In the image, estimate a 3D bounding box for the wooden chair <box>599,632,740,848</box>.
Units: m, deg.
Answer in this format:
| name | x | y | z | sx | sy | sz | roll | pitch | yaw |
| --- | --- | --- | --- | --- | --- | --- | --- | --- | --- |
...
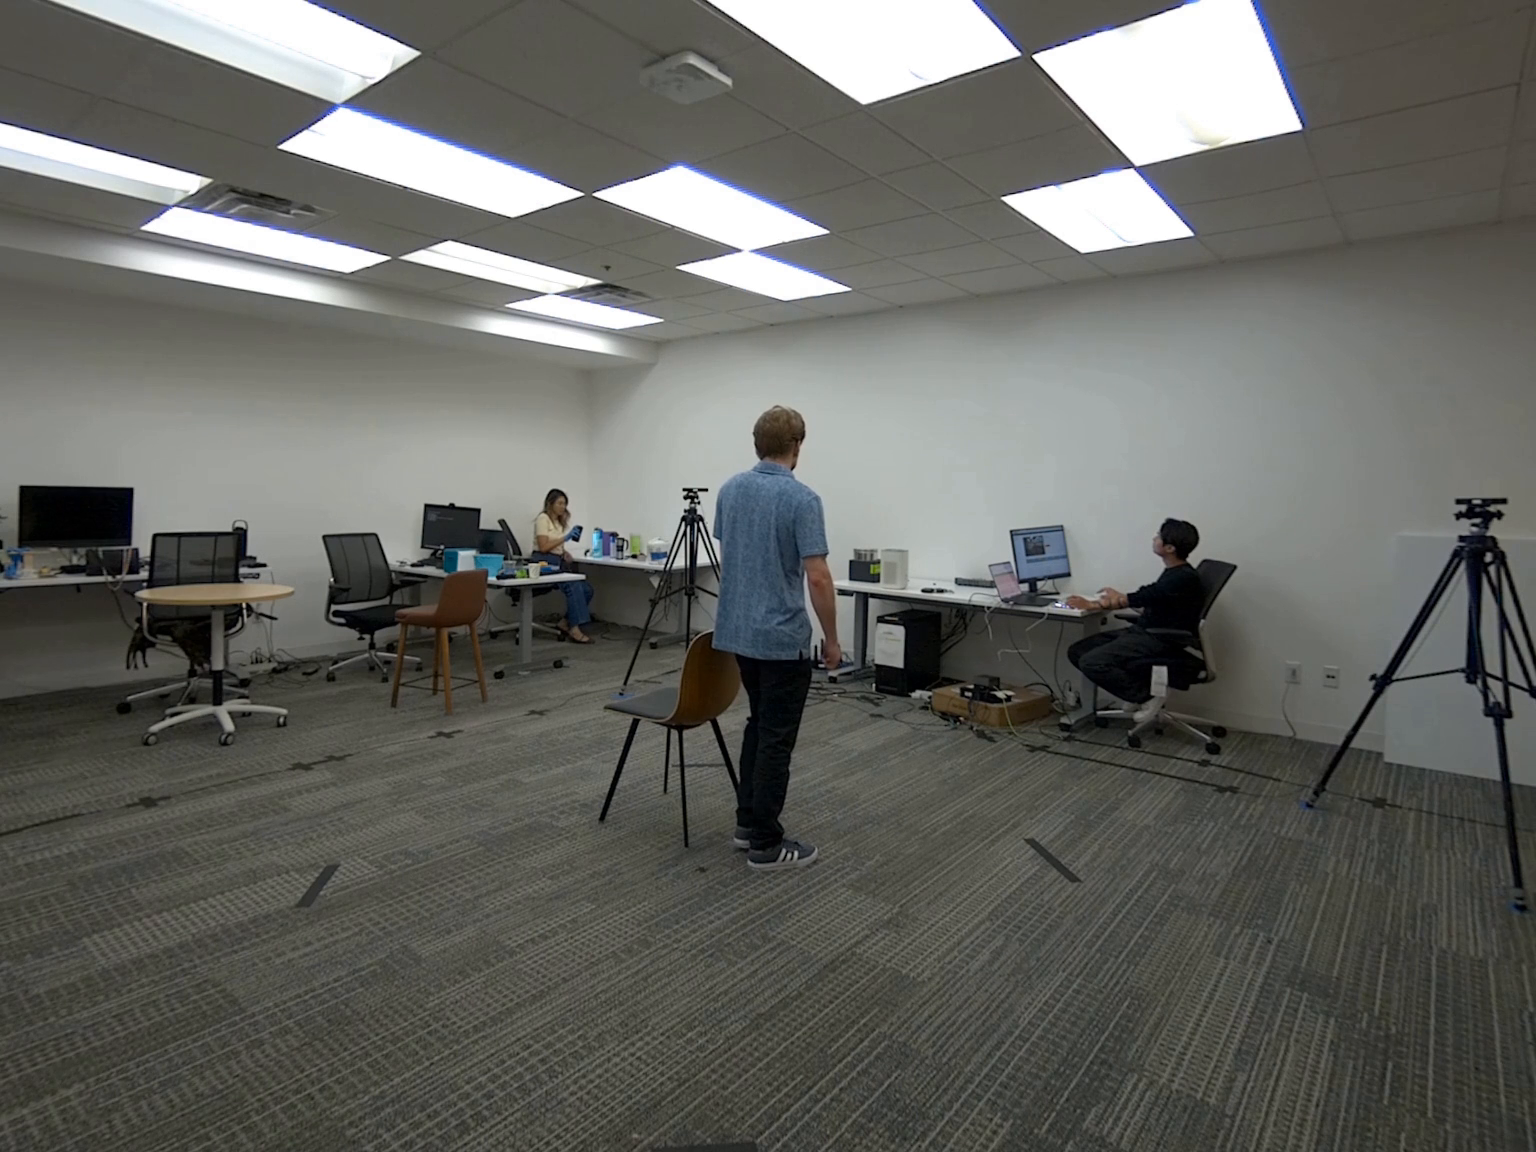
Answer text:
| name | x | y | z | sx | sy | sz | roll | pitch | yaw |
| --- | --- | --- | --- | --- | --- | --- | --- | --- | --- |
| wooden chair | -0.404 | 0.592 | 3.578 | 0.540 | 0.873 | 0.465 | 9 | 7 | 32 |
